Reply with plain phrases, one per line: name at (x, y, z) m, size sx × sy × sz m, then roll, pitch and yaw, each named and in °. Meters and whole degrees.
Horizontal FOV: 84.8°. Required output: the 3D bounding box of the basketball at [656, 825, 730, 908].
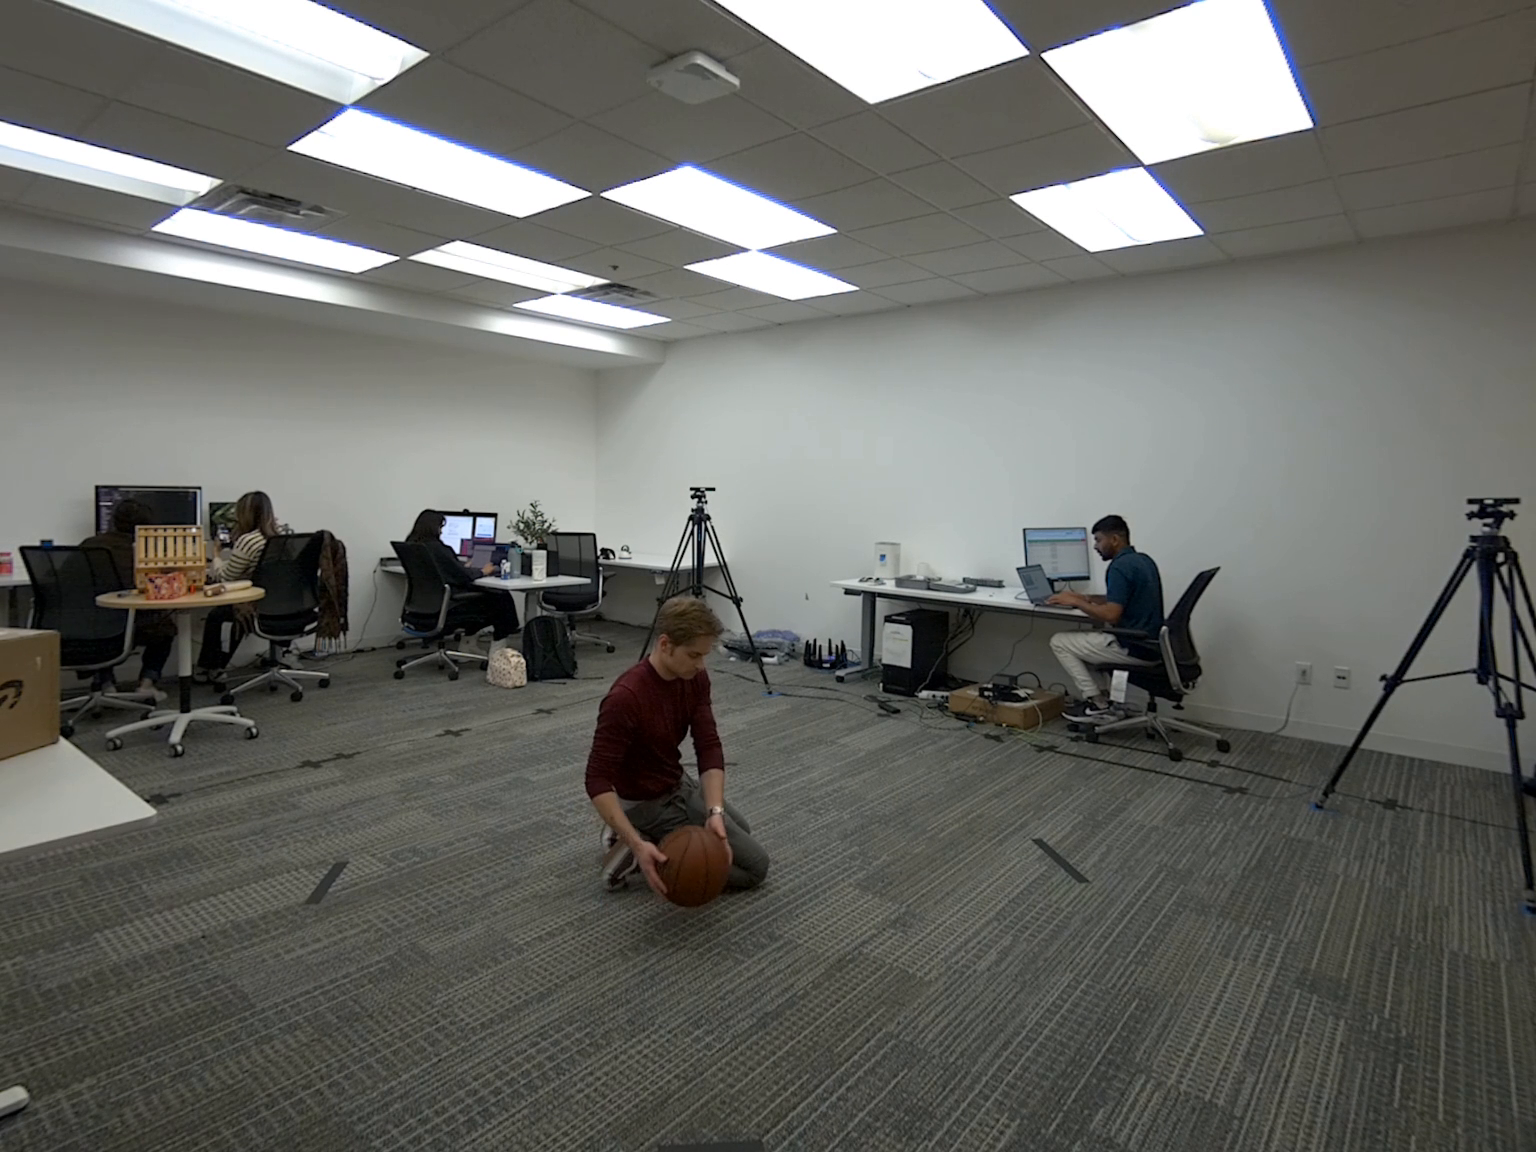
basketball at (-0.241, 0.888, 2.664) m, size 0.235 × 0.235 × 0.237 m, roll 1°, pitch 4°, yaw -2°
